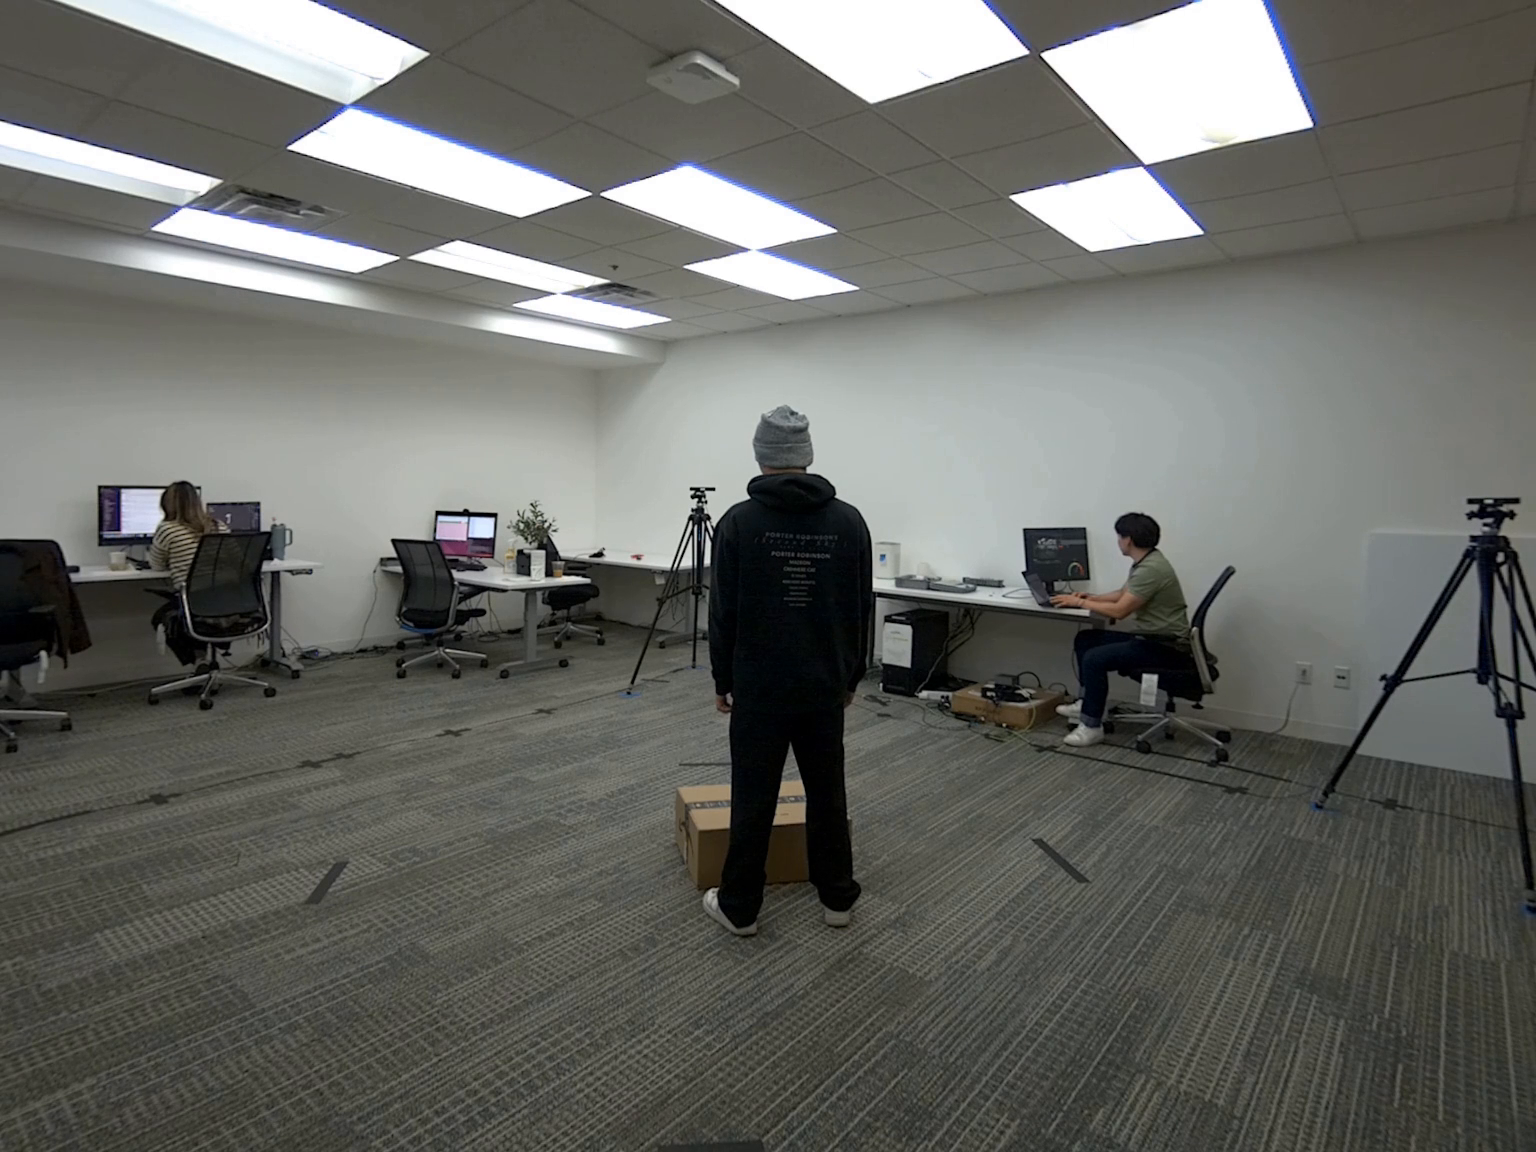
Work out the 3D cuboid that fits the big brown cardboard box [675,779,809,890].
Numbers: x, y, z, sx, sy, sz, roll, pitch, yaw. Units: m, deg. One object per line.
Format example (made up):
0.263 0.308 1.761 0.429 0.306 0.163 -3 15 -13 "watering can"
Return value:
-0.036 0.950 3.187 0.581 0.232 0.425 1 6 -14 "big brown cardboard box"
